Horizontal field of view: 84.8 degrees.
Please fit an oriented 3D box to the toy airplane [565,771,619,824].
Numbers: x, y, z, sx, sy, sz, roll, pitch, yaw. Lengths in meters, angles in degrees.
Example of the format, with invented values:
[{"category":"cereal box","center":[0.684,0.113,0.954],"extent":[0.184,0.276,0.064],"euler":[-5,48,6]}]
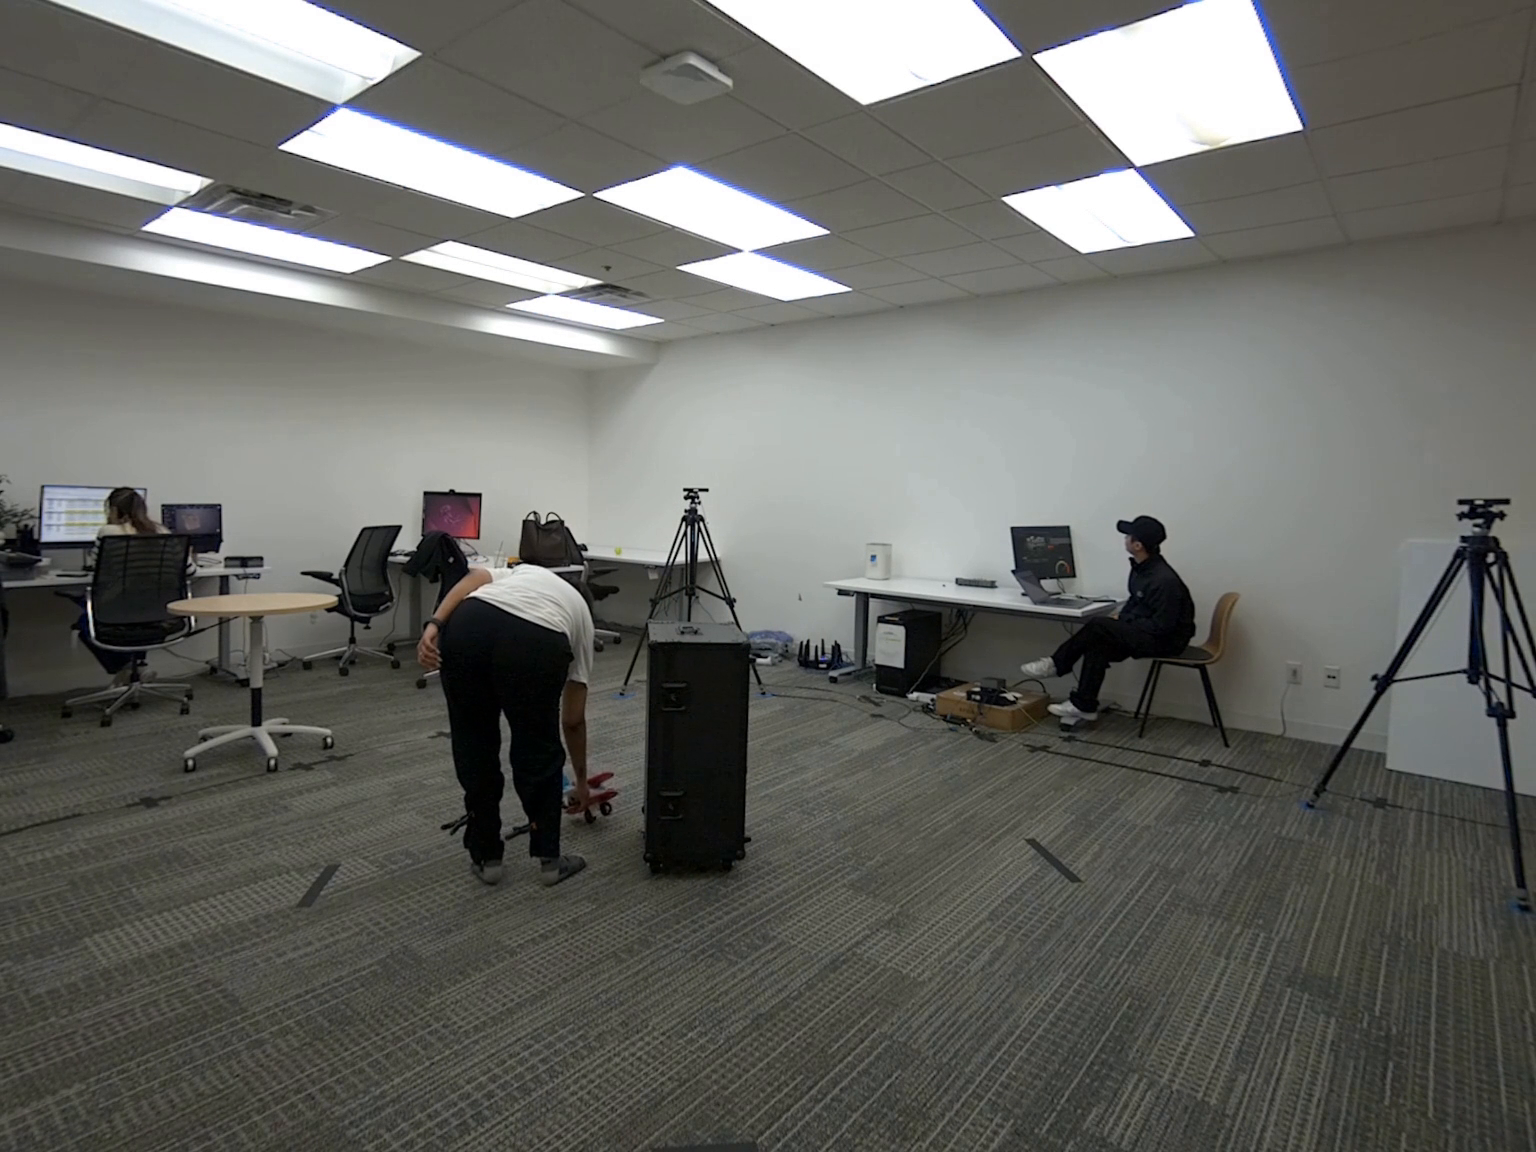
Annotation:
[{"category":"toy airplane","center":[-0.763,0.894,3.495],"extent":[0.251,0.161,0.250],"euler":[-10,-40,2]}]
